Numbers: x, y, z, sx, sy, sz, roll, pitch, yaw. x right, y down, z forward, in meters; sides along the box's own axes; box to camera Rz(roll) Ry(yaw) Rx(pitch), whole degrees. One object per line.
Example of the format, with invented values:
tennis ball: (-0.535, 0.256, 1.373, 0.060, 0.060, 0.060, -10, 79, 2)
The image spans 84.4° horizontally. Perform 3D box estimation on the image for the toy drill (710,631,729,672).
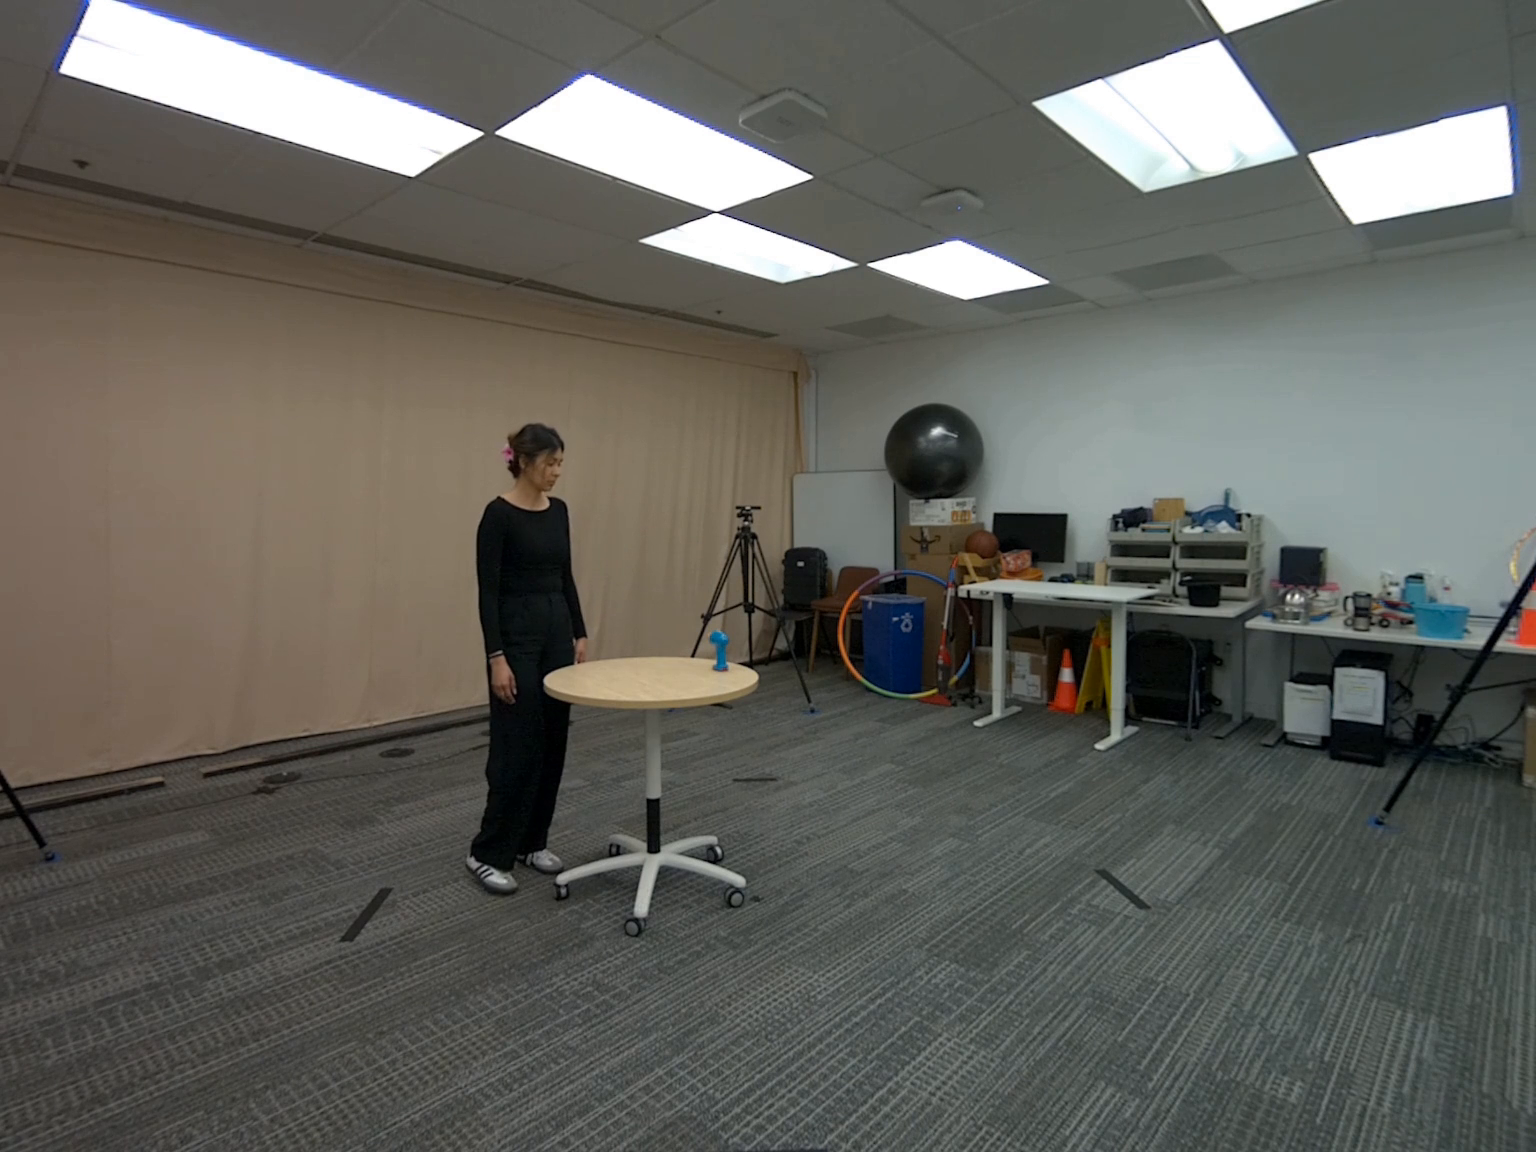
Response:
toy drill: (-0.191, 0.275, 3.164, 0.059, 0.145, 0.174, -3, 5, -28)
